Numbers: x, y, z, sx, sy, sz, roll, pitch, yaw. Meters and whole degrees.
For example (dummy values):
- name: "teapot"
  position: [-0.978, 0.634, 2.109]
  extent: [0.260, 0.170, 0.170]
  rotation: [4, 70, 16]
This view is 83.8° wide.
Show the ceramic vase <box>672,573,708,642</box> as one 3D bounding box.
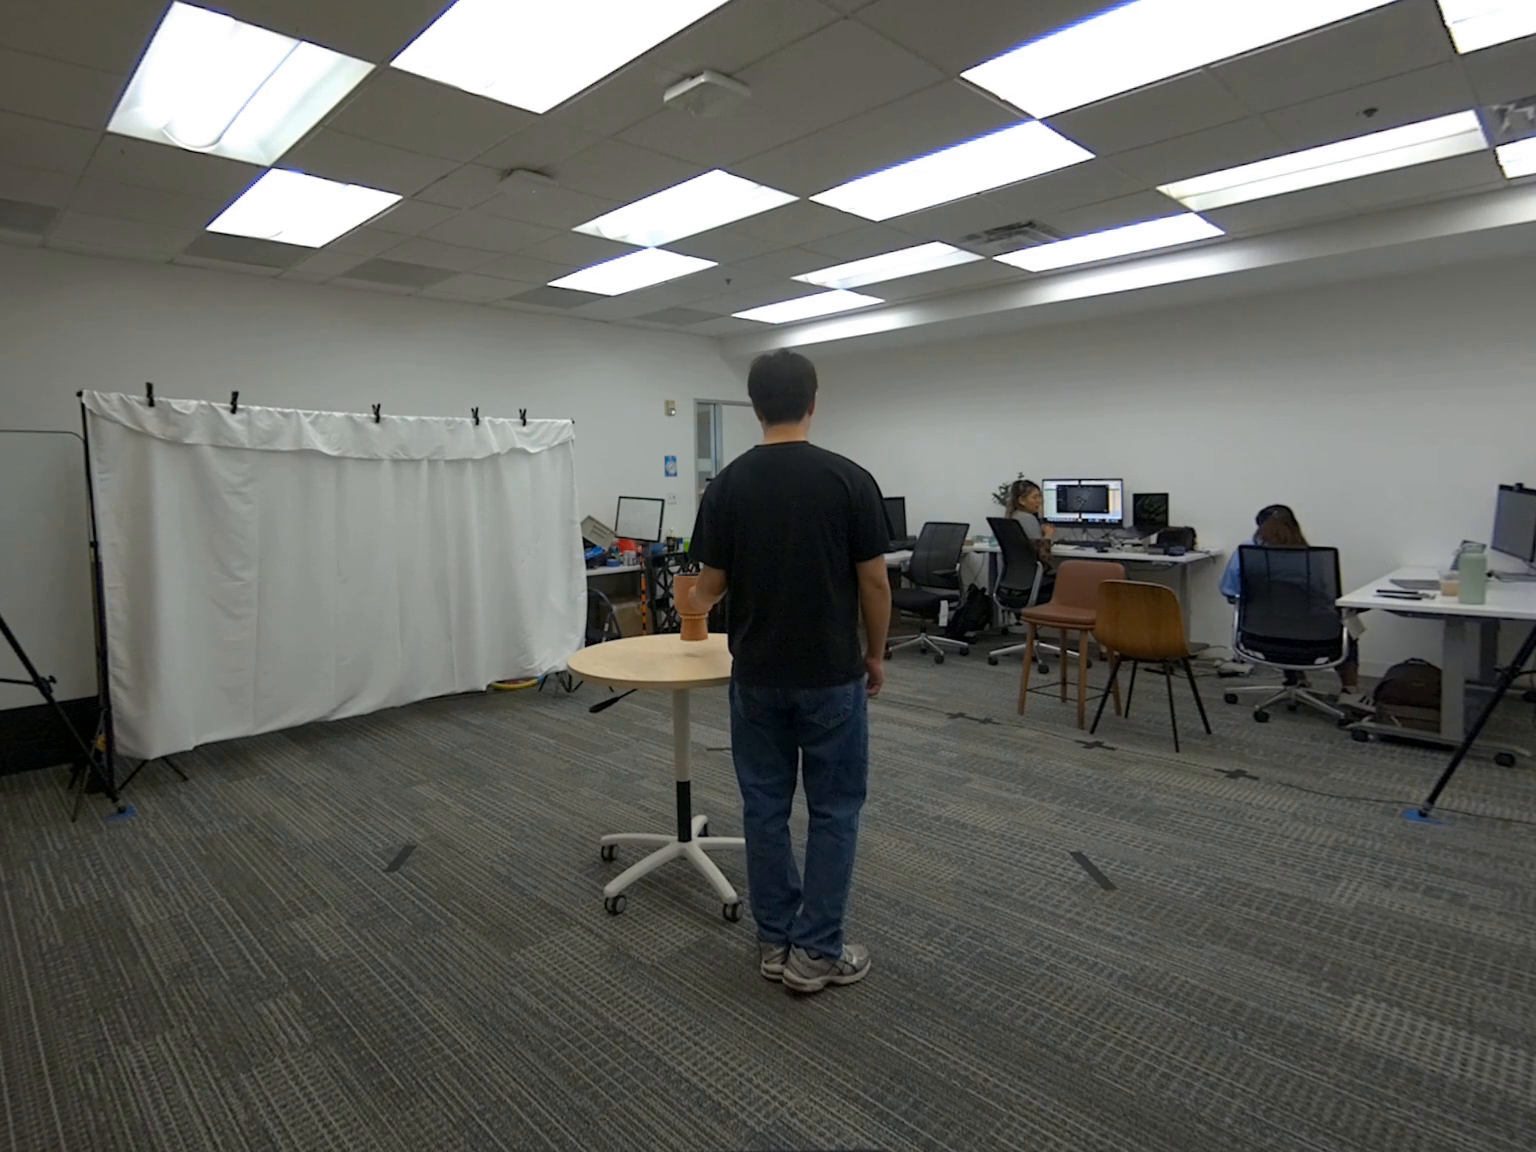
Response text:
- name: "ceramic vase"
  position: [-0.240, 0.105, 2.915]
  extent: [0.137, 0.219, 0.157]
  rotation: [1, 4, 17]
